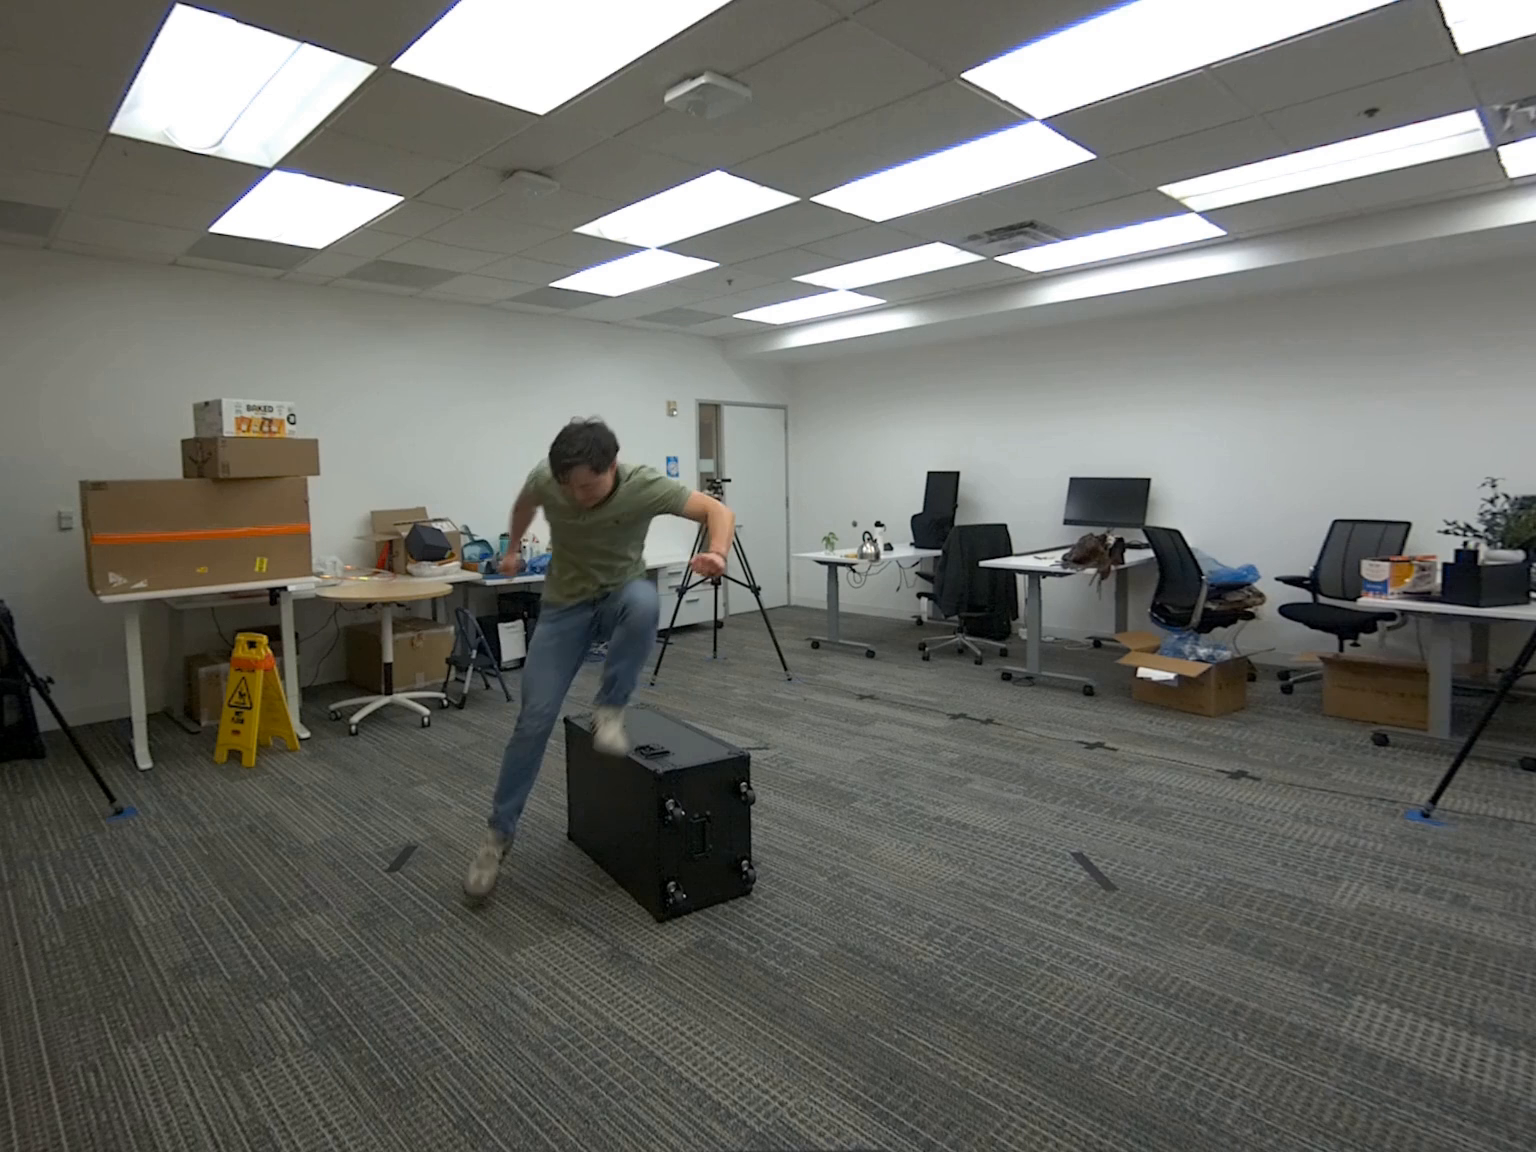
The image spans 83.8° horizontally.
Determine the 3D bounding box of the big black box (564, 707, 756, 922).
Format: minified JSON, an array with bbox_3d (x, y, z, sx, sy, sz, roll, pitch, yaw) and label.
[{"bbox_3d":[-0.392,0.812,3.077,0.387,0.519,0.887,-4,7,-32],"label":"big black box"}]
